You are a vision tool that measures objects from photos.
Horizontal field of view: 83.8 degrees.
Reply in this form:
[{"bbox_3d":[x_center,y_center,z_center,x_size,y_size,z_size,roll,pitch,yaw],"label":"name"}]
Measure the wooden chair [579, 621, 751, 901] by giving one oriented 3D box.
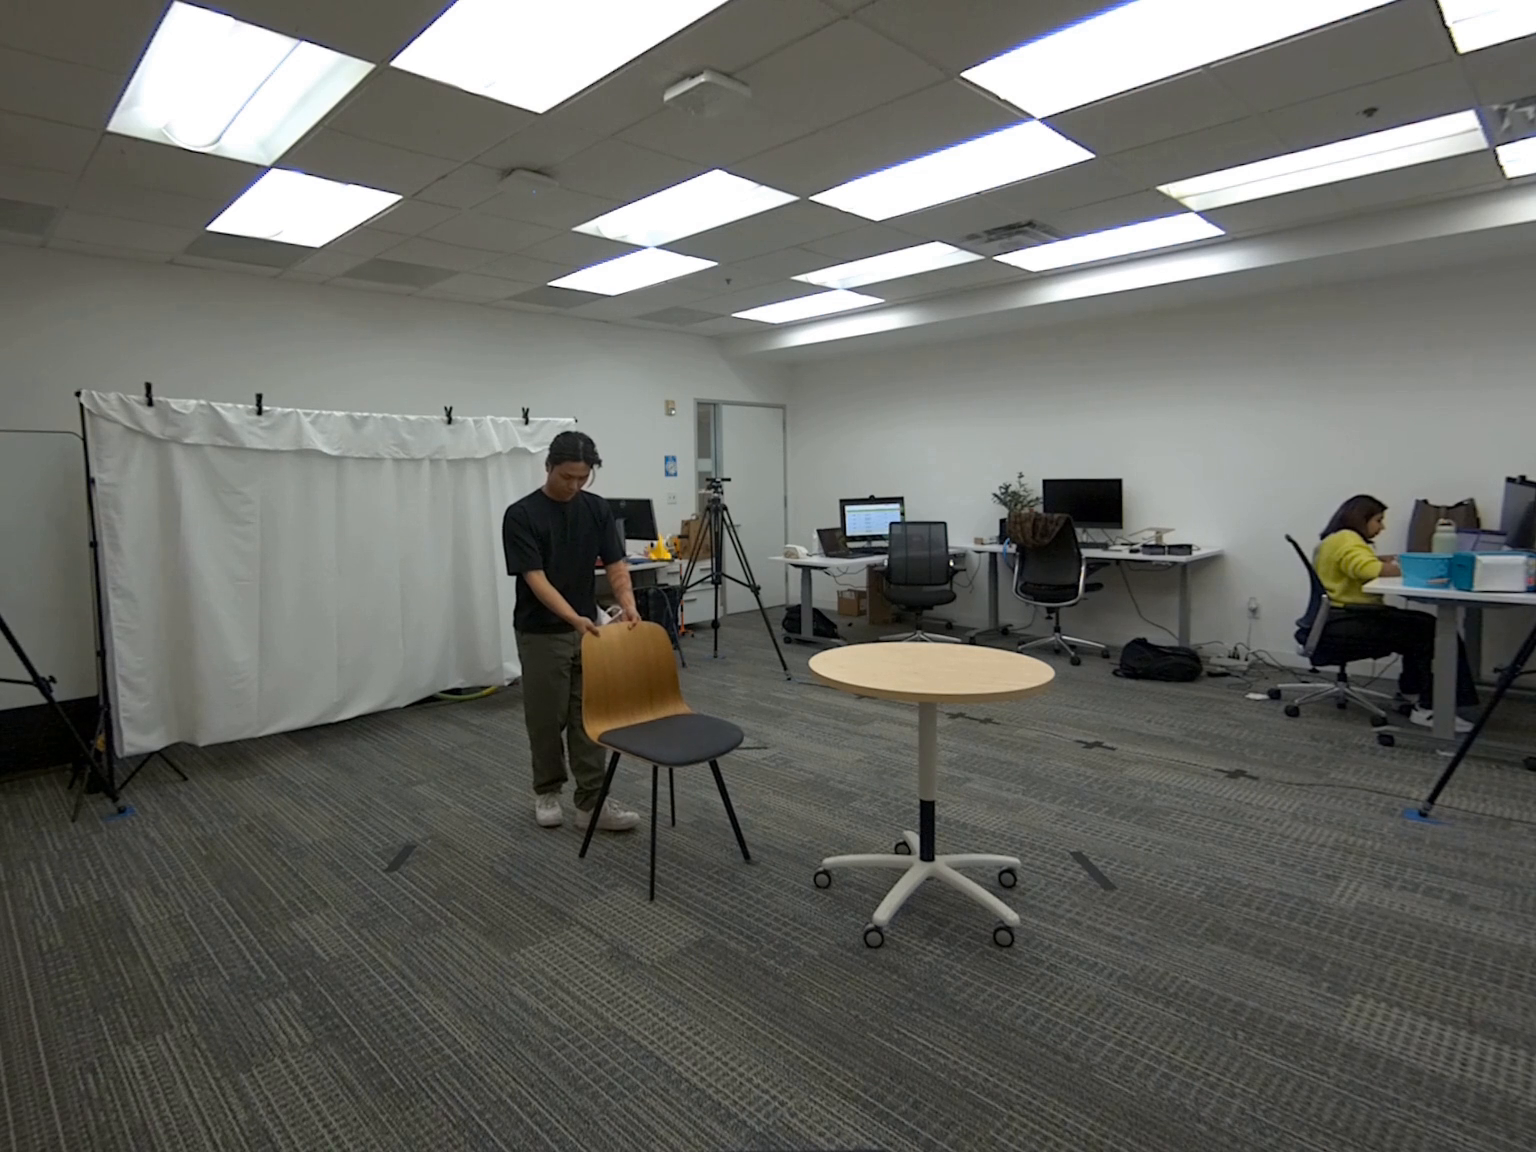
[{"bbox_3d":[-0.378,0.619,3.109,0.465,0.877,0.537,-4,1,-43],"label":"wooden chair"}]
